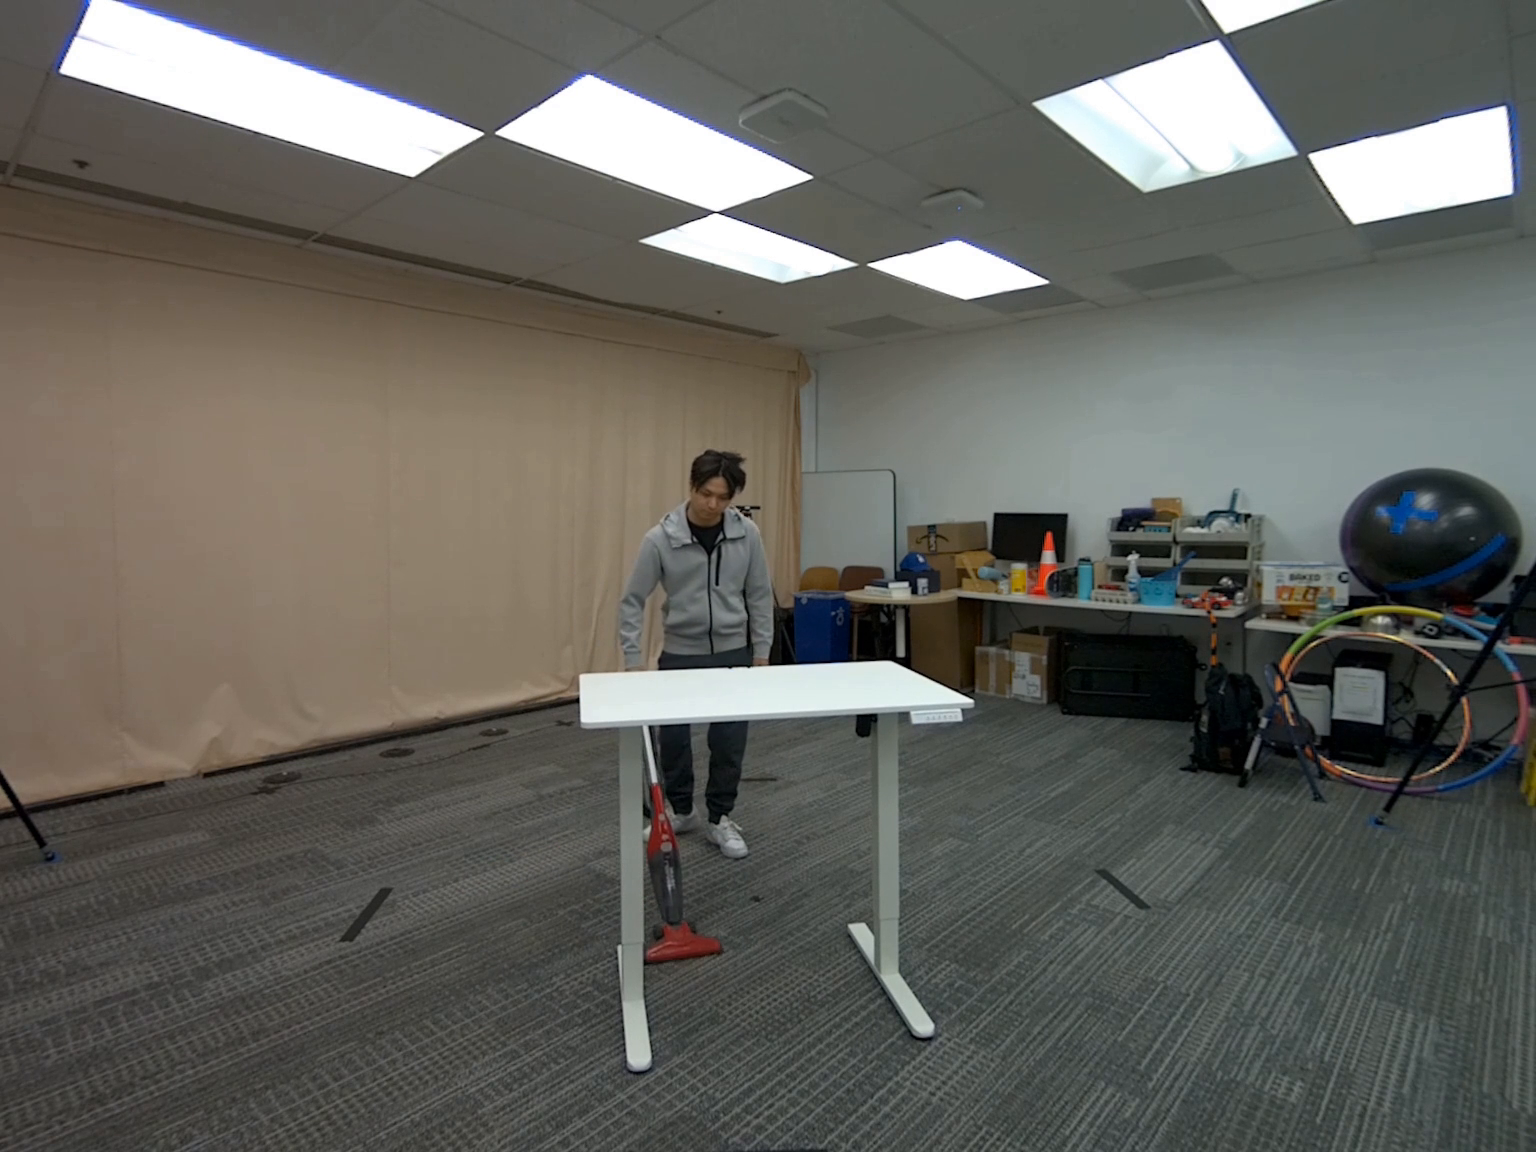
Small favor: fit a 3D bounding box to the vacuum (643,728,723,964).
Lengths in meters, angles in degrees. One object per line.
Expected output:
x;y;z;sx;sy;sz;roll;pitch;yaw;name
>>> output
-0.404;0.767;3.002;0.247;0.143;1.078;2;45;-22;vacuum
